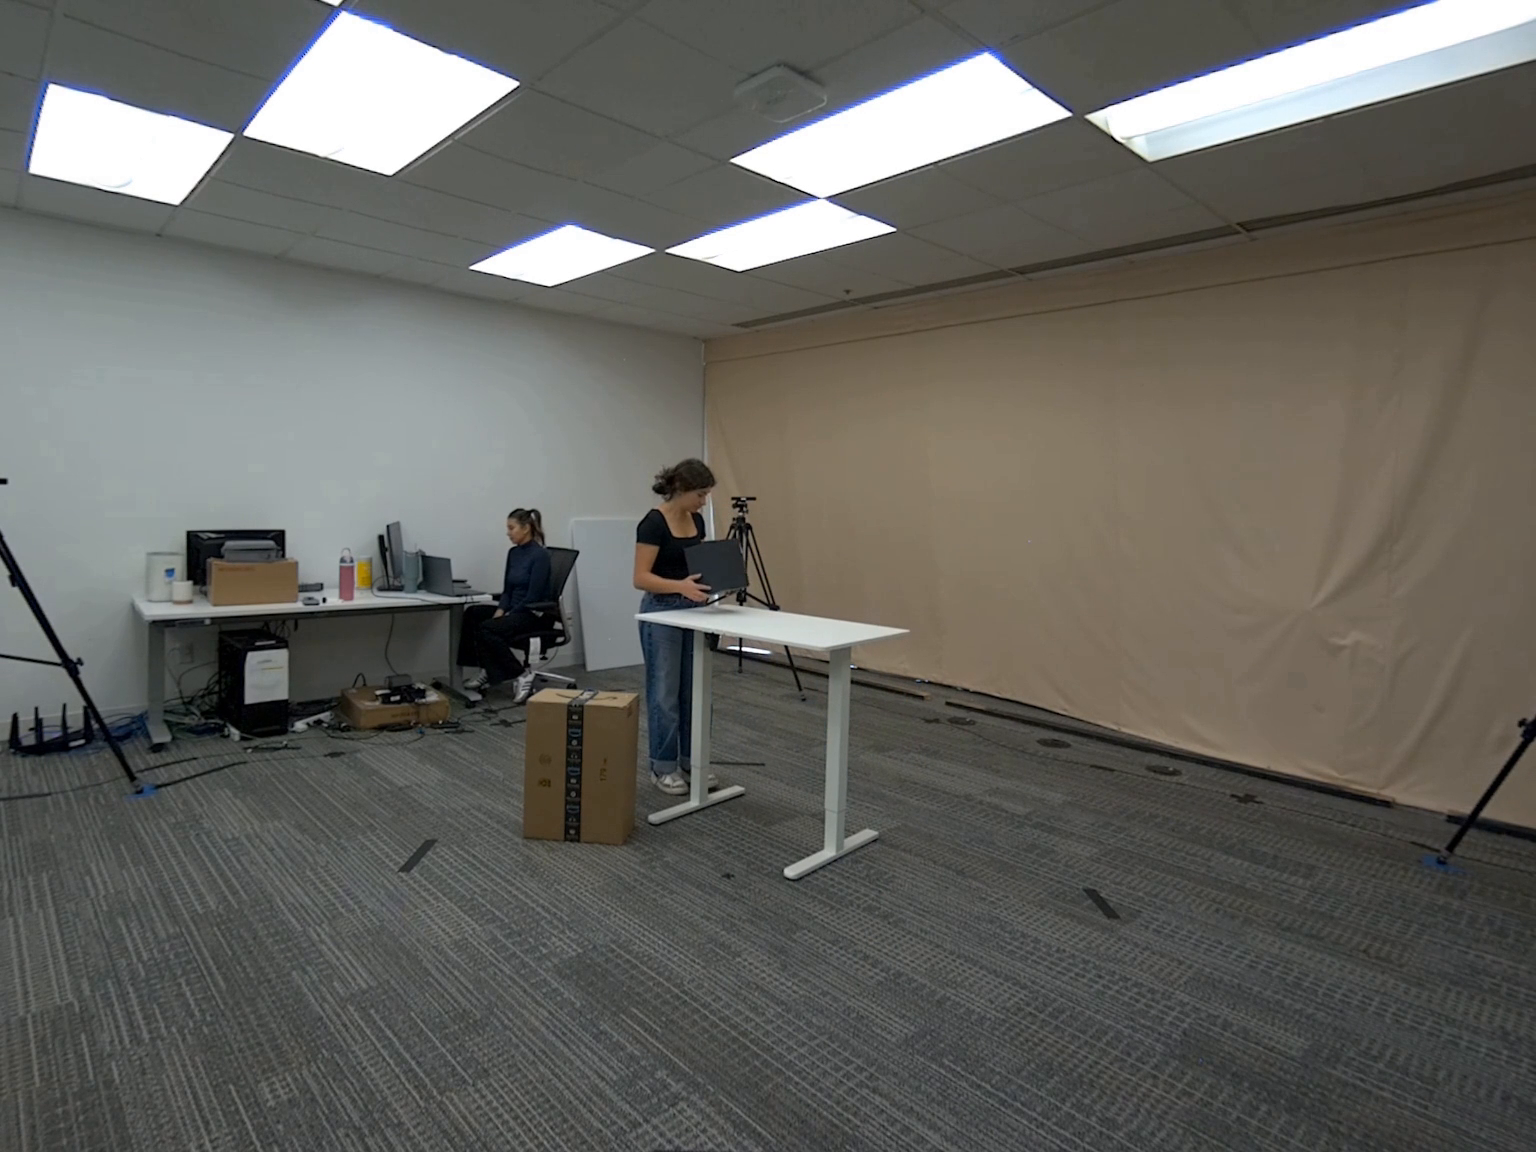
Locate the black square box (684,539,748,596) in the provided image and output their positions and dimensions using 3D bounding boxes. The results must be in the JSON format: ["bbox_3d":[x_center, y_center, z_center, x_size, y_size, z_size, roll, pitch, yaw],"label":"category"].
[{"bbox_3d":[-0.238,-0.041,3.784,0.212,0.229,0.158,-7,-5,-45],"label":"black square box"}]
